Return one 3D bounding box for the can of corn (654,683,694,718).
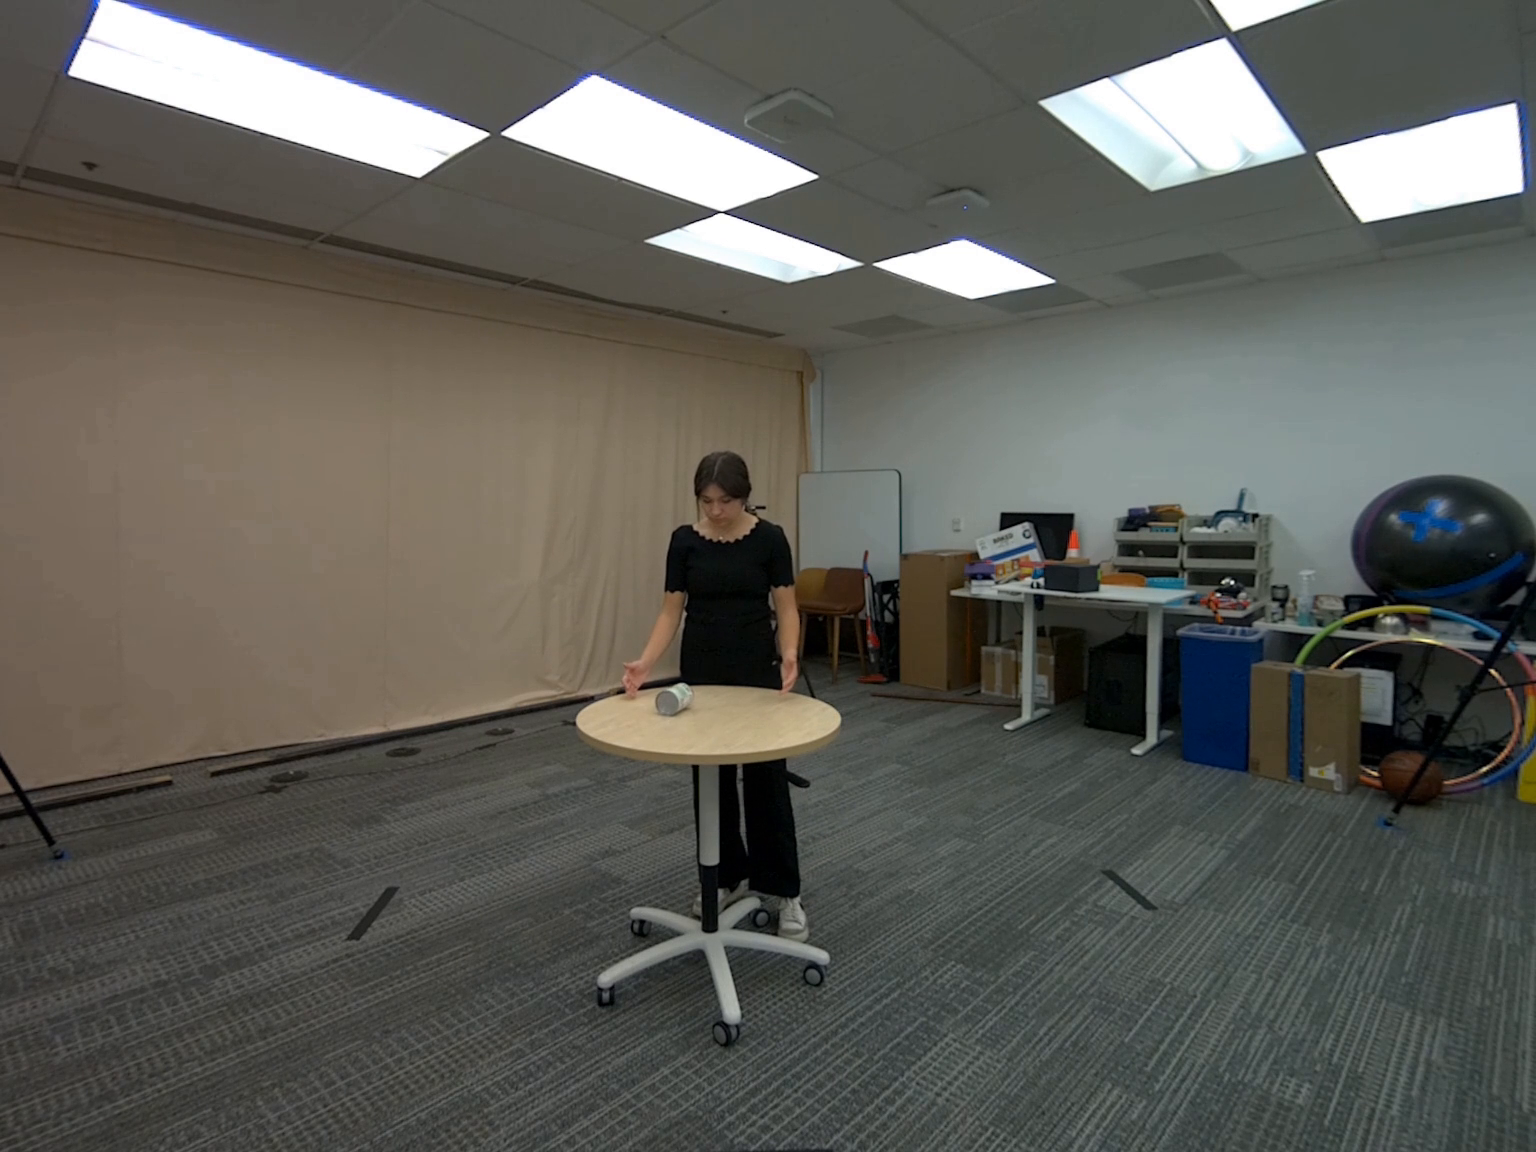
[{"bbox_3d":[-0.276,0.360,2.492,0.076,0.074,0.109,1,3,18],"label":"can of corn"}]
